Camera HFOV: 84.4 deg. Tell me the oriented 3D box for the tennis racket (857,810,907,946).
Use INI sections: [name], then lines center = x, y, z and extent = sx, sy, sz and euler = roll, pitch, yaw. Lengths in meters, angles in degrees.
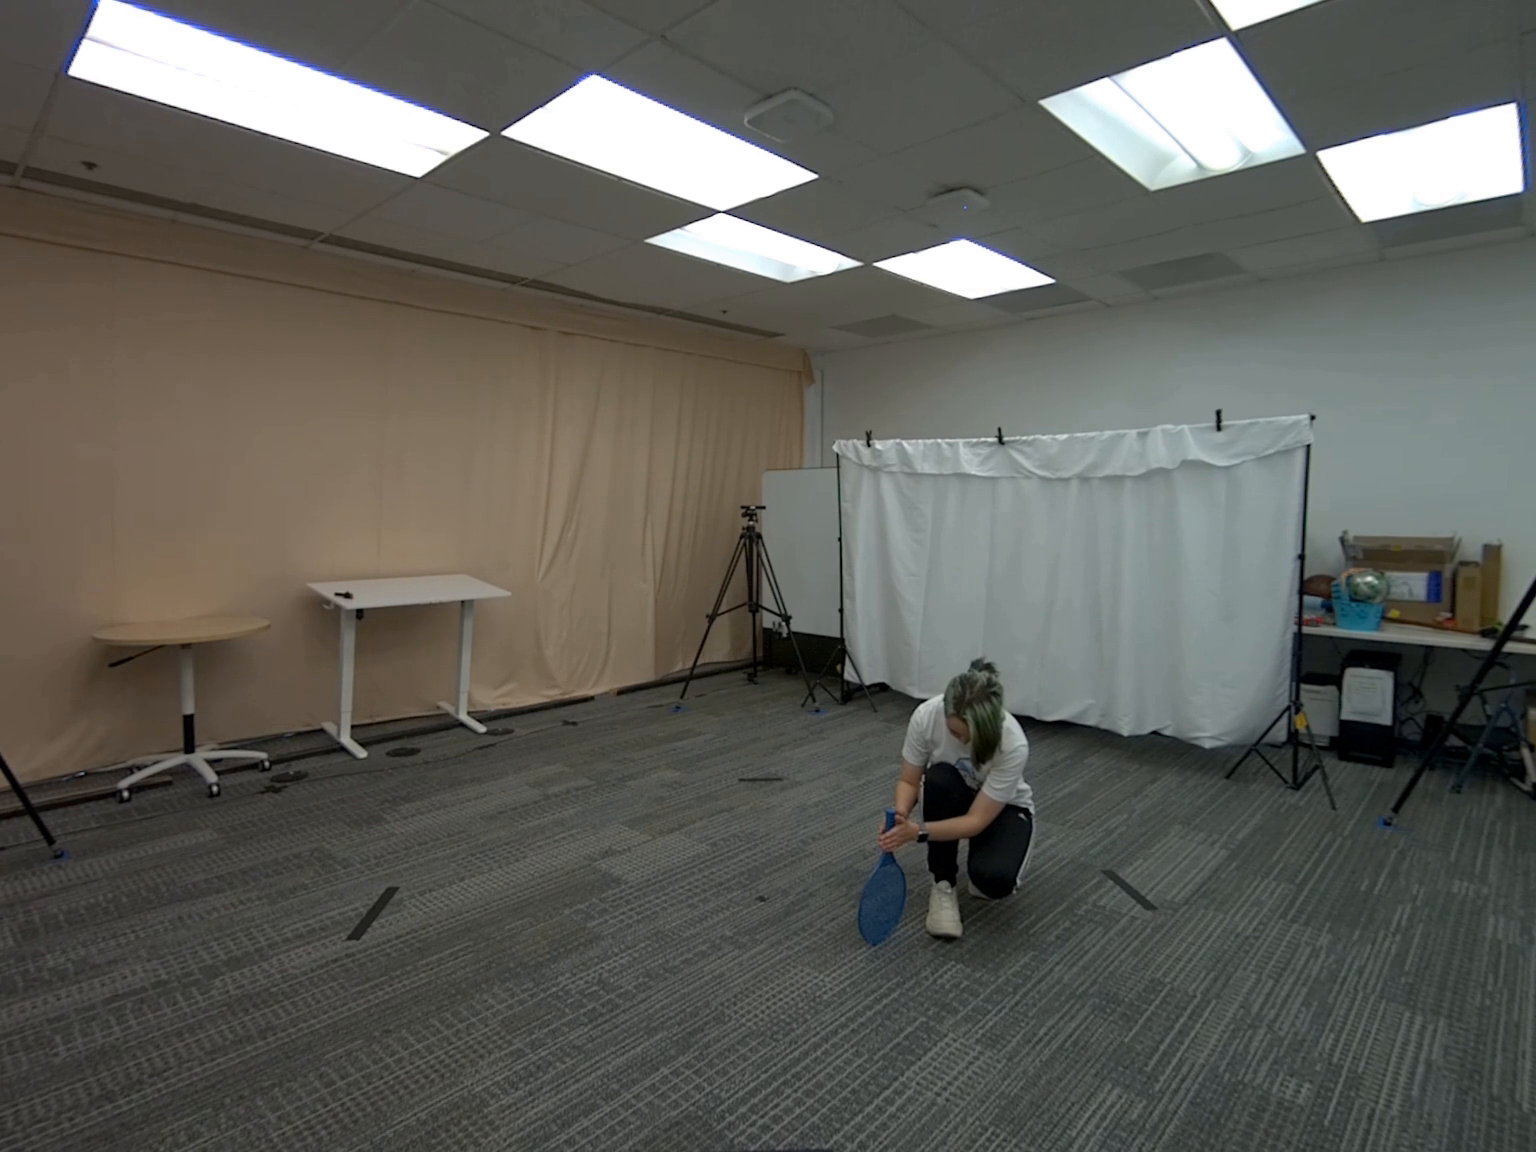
[tennis racket]
center = 0.365, 0.958, 2.658
extent = 0.207, 0.432, 0.033
euler = -2, 5, -38
